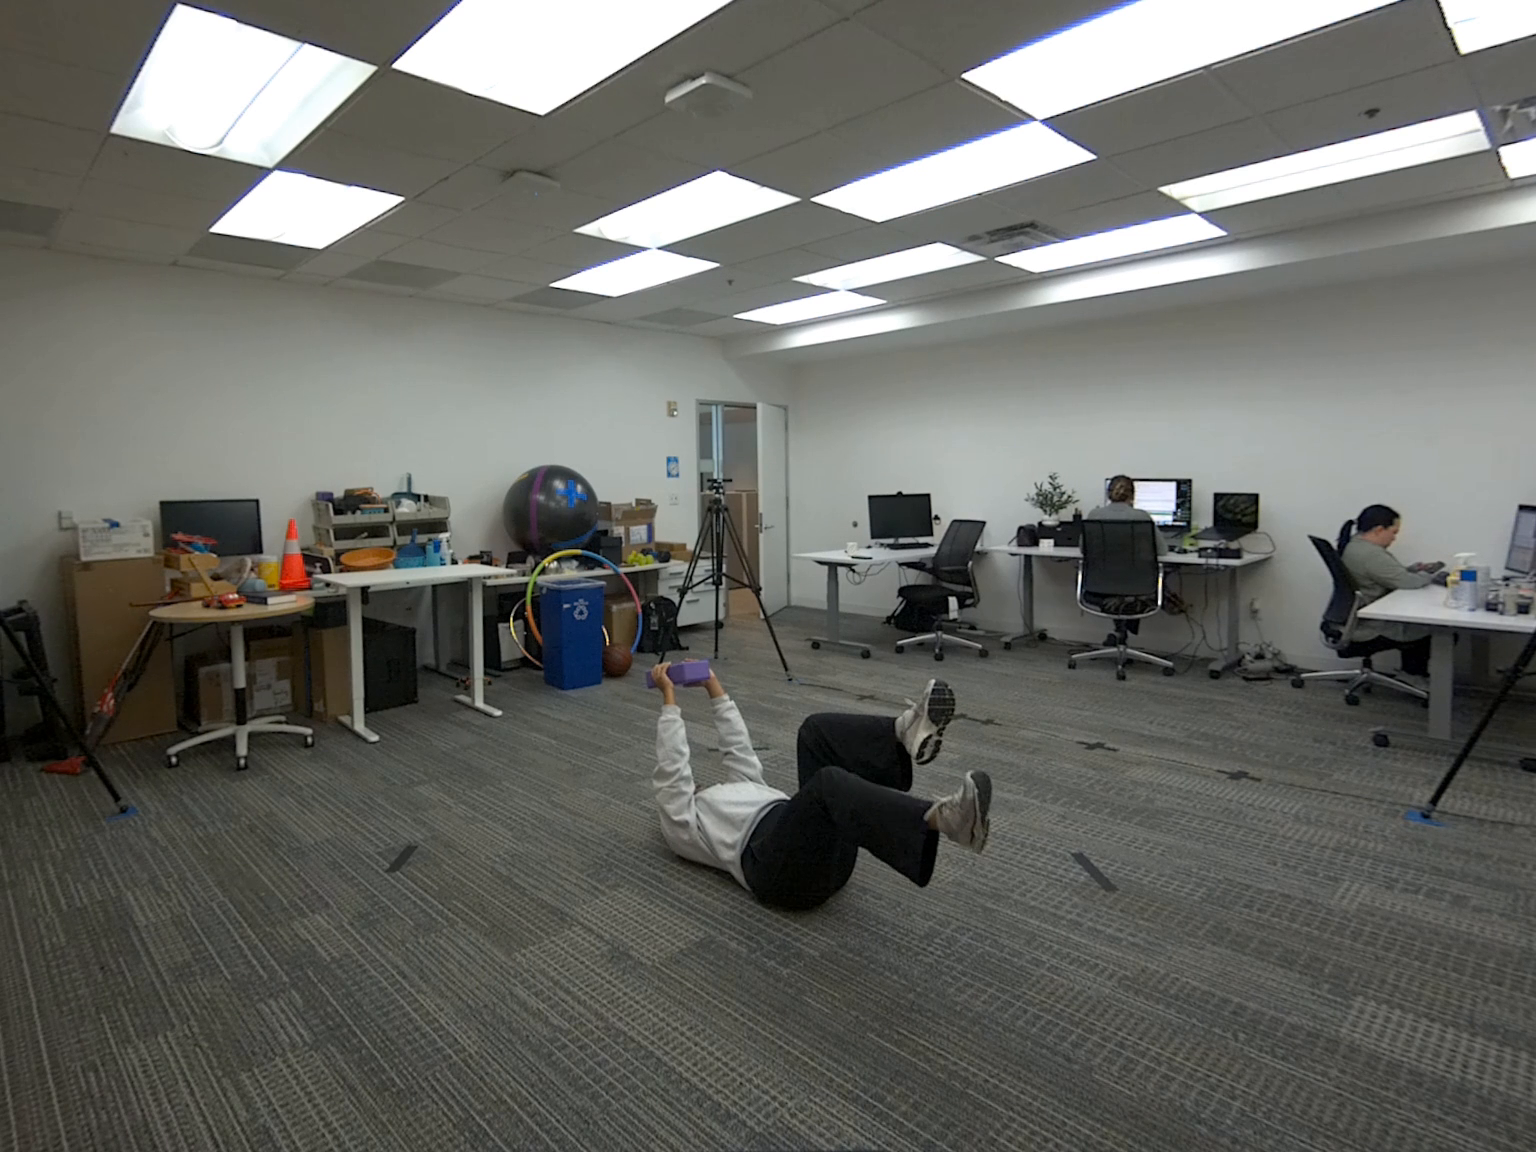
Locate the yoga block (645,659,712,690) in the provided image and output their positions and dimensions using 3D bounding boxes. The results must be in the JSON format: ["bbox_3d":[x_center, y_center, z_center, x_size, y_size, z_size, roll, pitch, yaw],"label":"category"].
[{"bbox_3d":[-0.363,0.393,3.400,0.234,0.077,0.144,-15,-11,41],"label":"yoga block"}]
